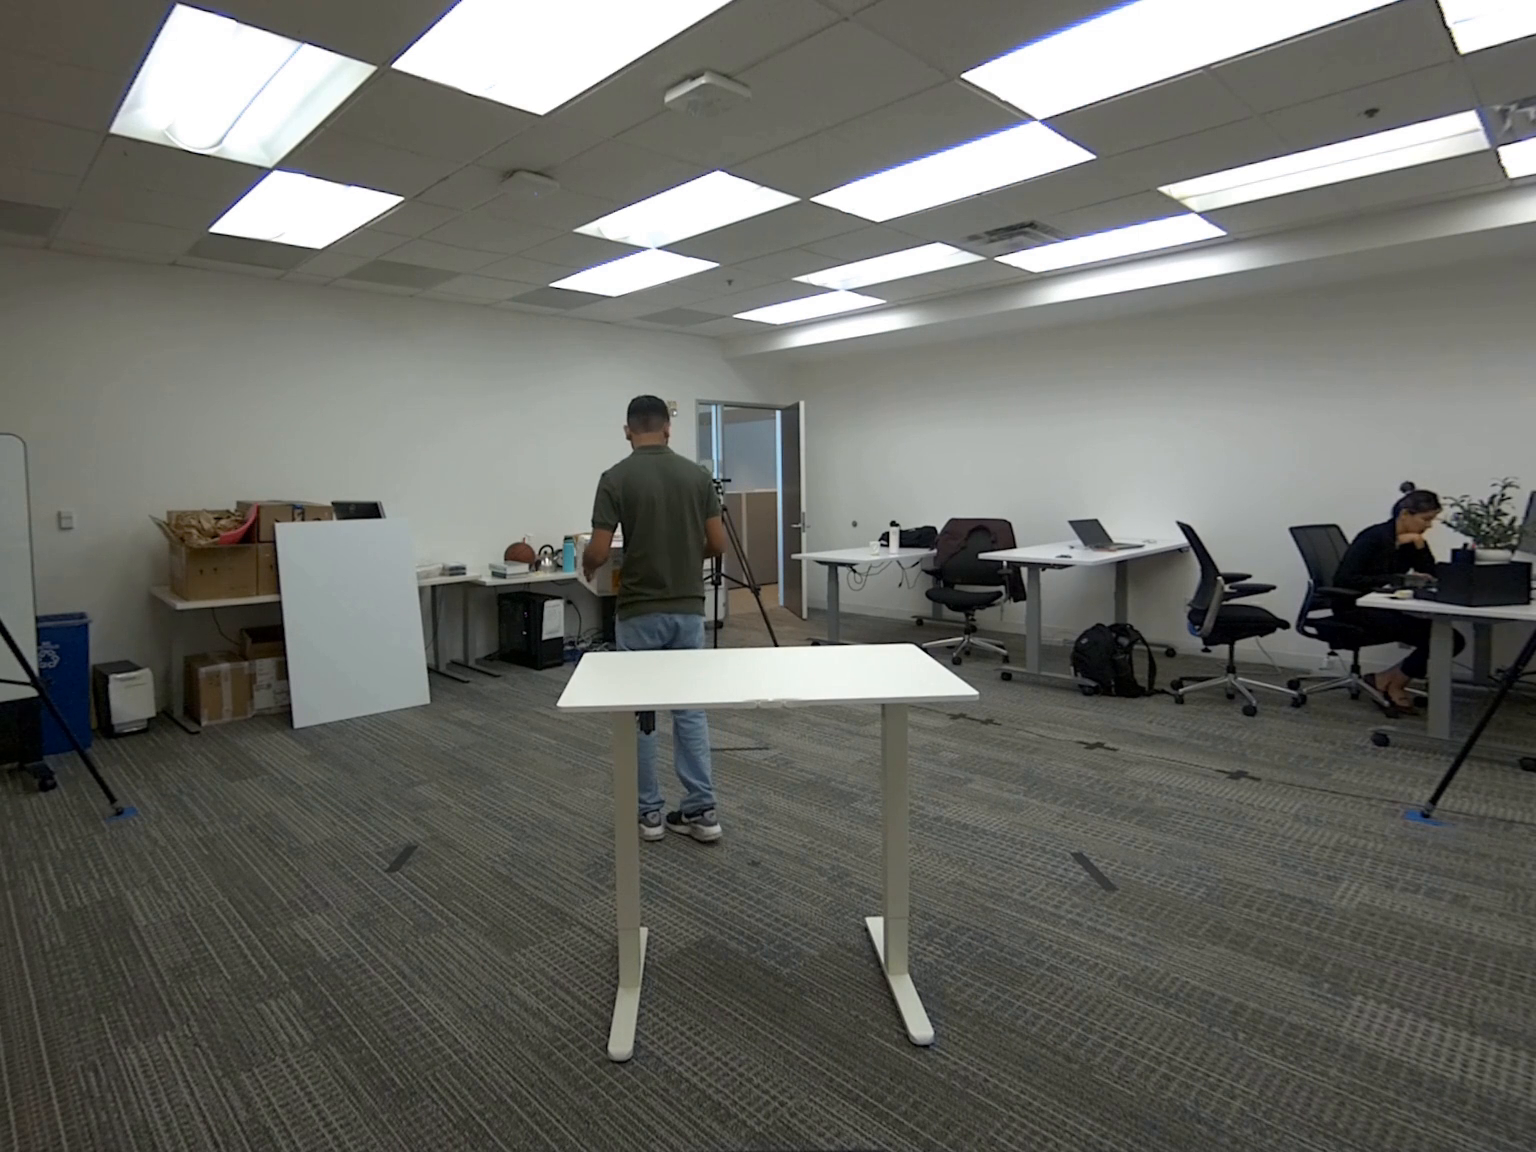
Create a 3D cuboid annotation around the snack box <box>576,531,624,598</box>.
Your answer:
[{"bbox_3d":[-0.568,-0.057,3.656,0.397,0.204,0.350,-3,11,-24],"label":"snack box"}]
